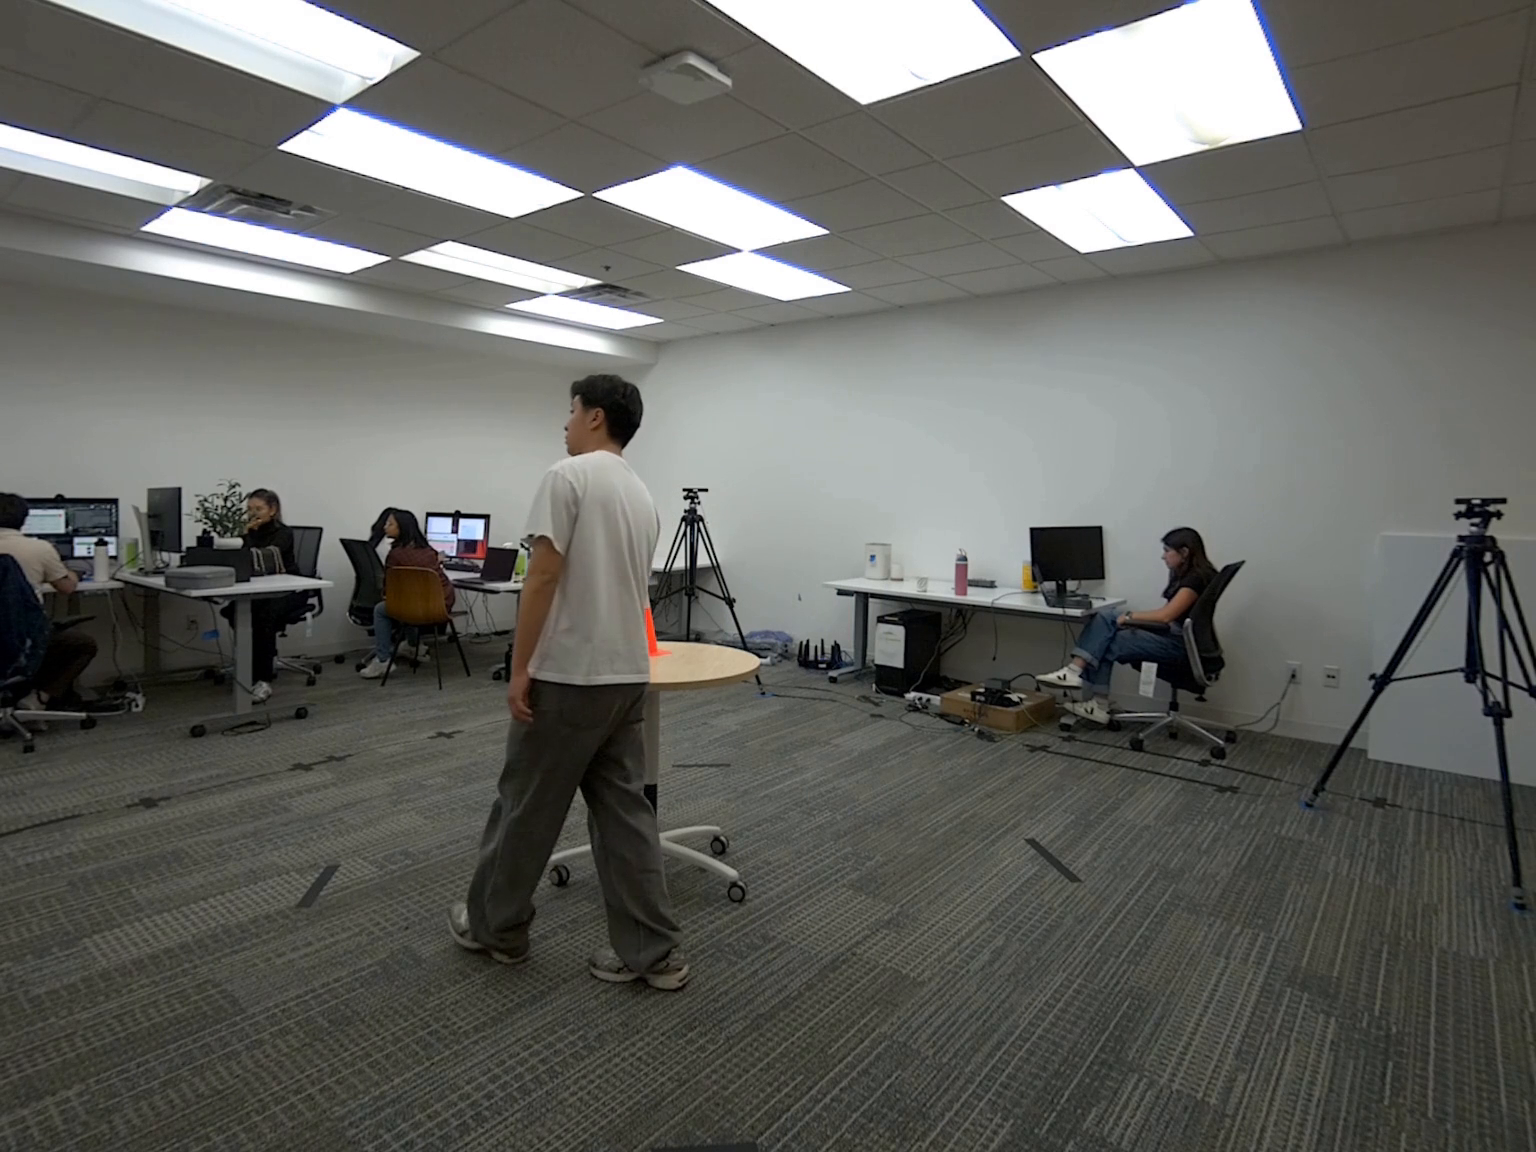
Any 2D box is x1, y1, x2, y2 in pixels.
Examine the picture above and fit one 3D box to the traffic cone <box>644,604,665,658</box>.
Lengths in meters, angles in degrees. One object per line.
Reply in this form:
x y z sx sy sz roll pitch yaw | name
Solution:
-0.485 0.089 3.136 0.212 0.383 0.197 3 4 42 | traffic cone
